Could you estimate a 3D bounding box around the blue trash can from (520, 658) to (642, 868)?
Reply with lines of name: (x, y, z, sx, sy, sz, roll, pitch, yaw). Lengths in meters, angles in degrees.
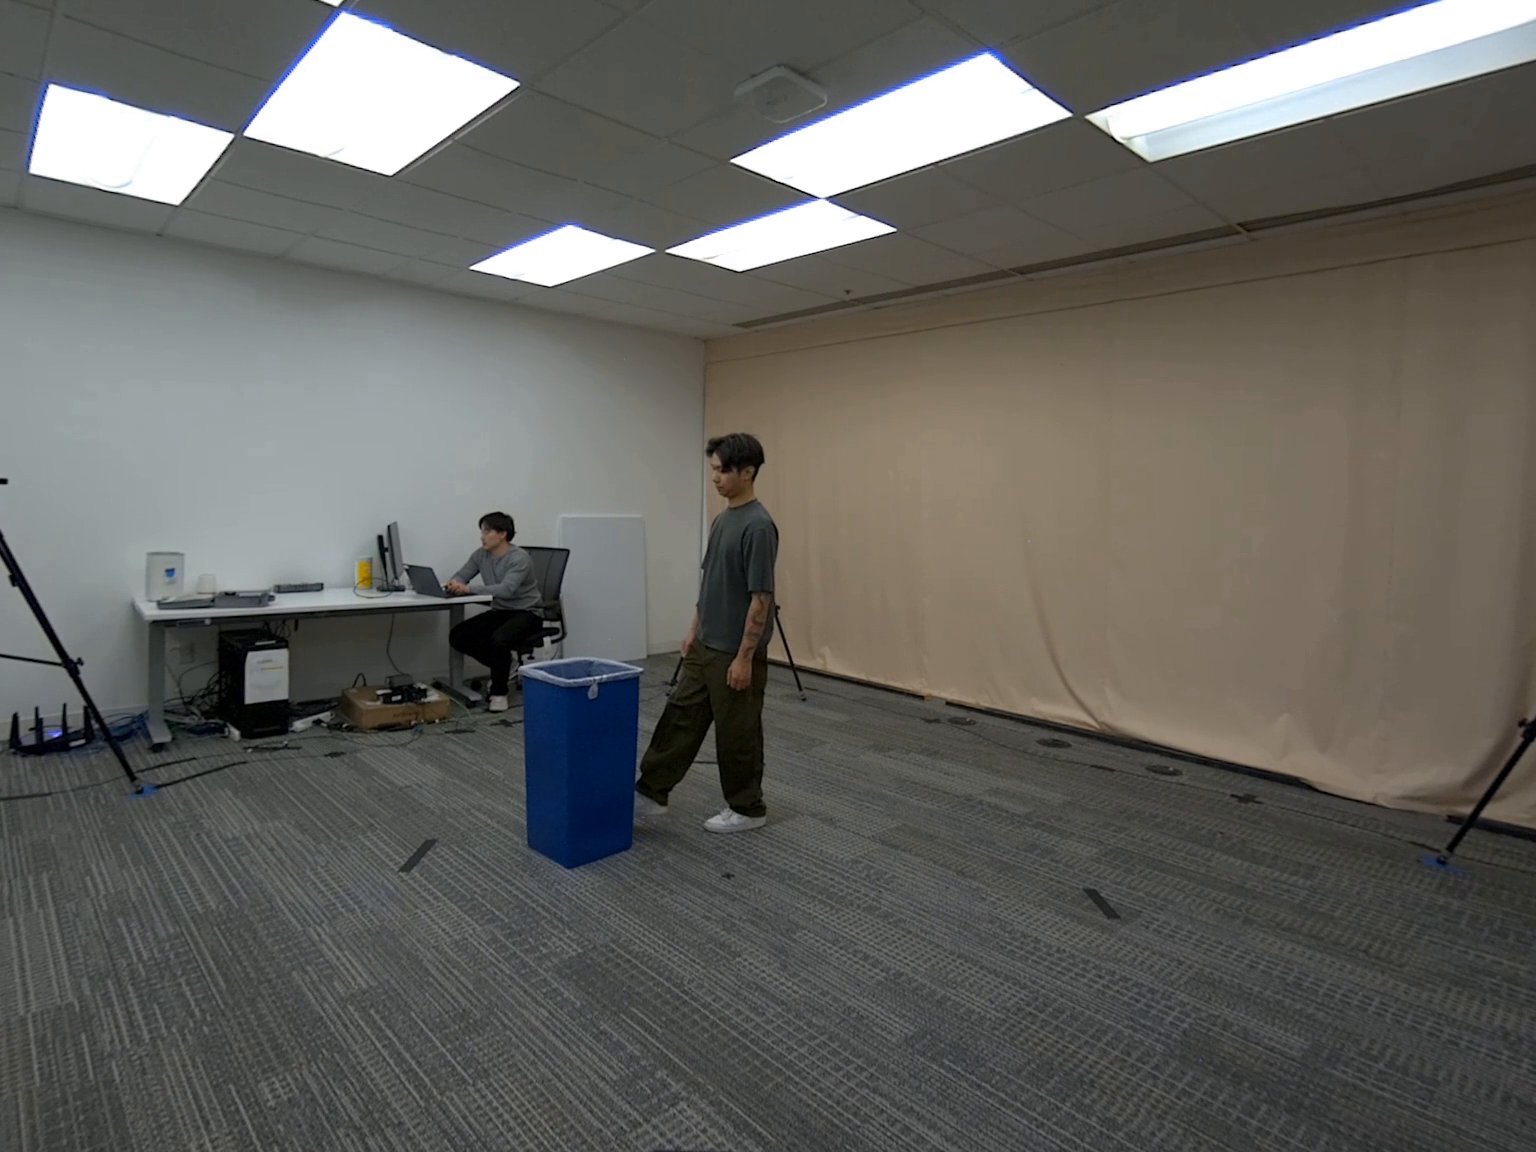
blue trash can: (-0.751, 0.718, 3.308, 0.387, 0.712, 0.365, 3, 3, 43)
